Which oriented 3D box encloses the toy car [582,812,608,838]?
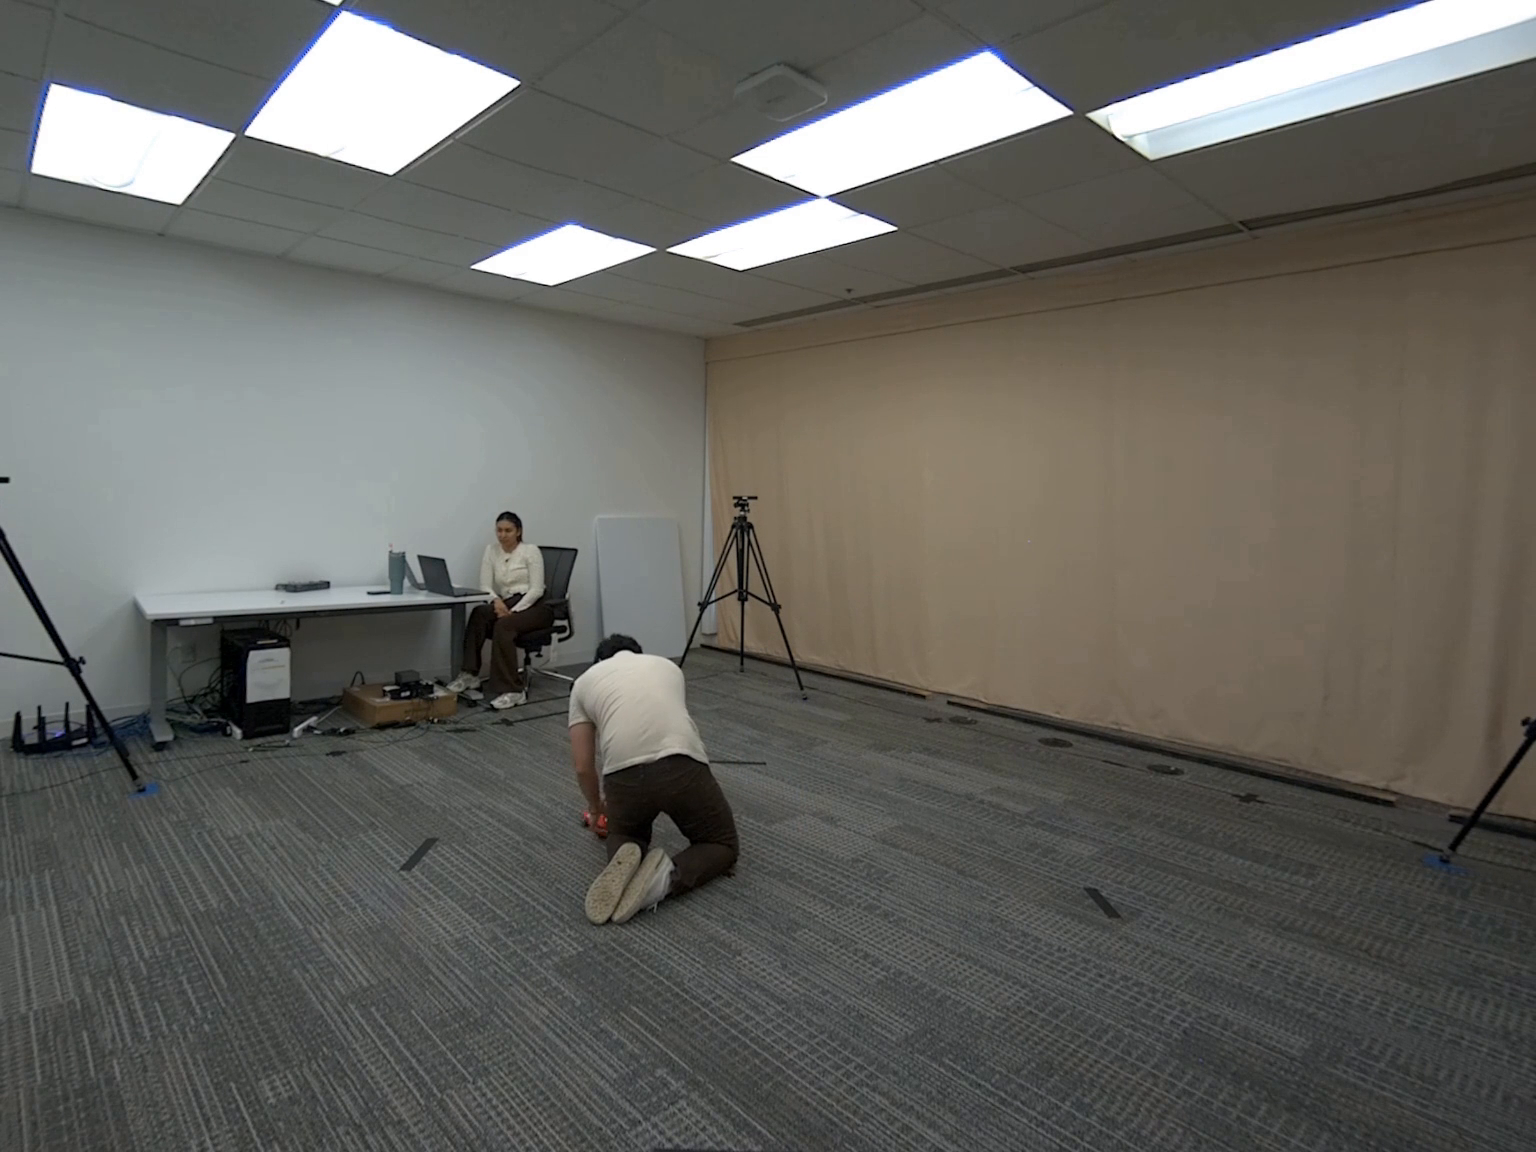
[{"bbox_3d":[-0.679,1.024,3.486,0.127,0.083,0.259,-3,-5,-34],"label":"toy car"}]
